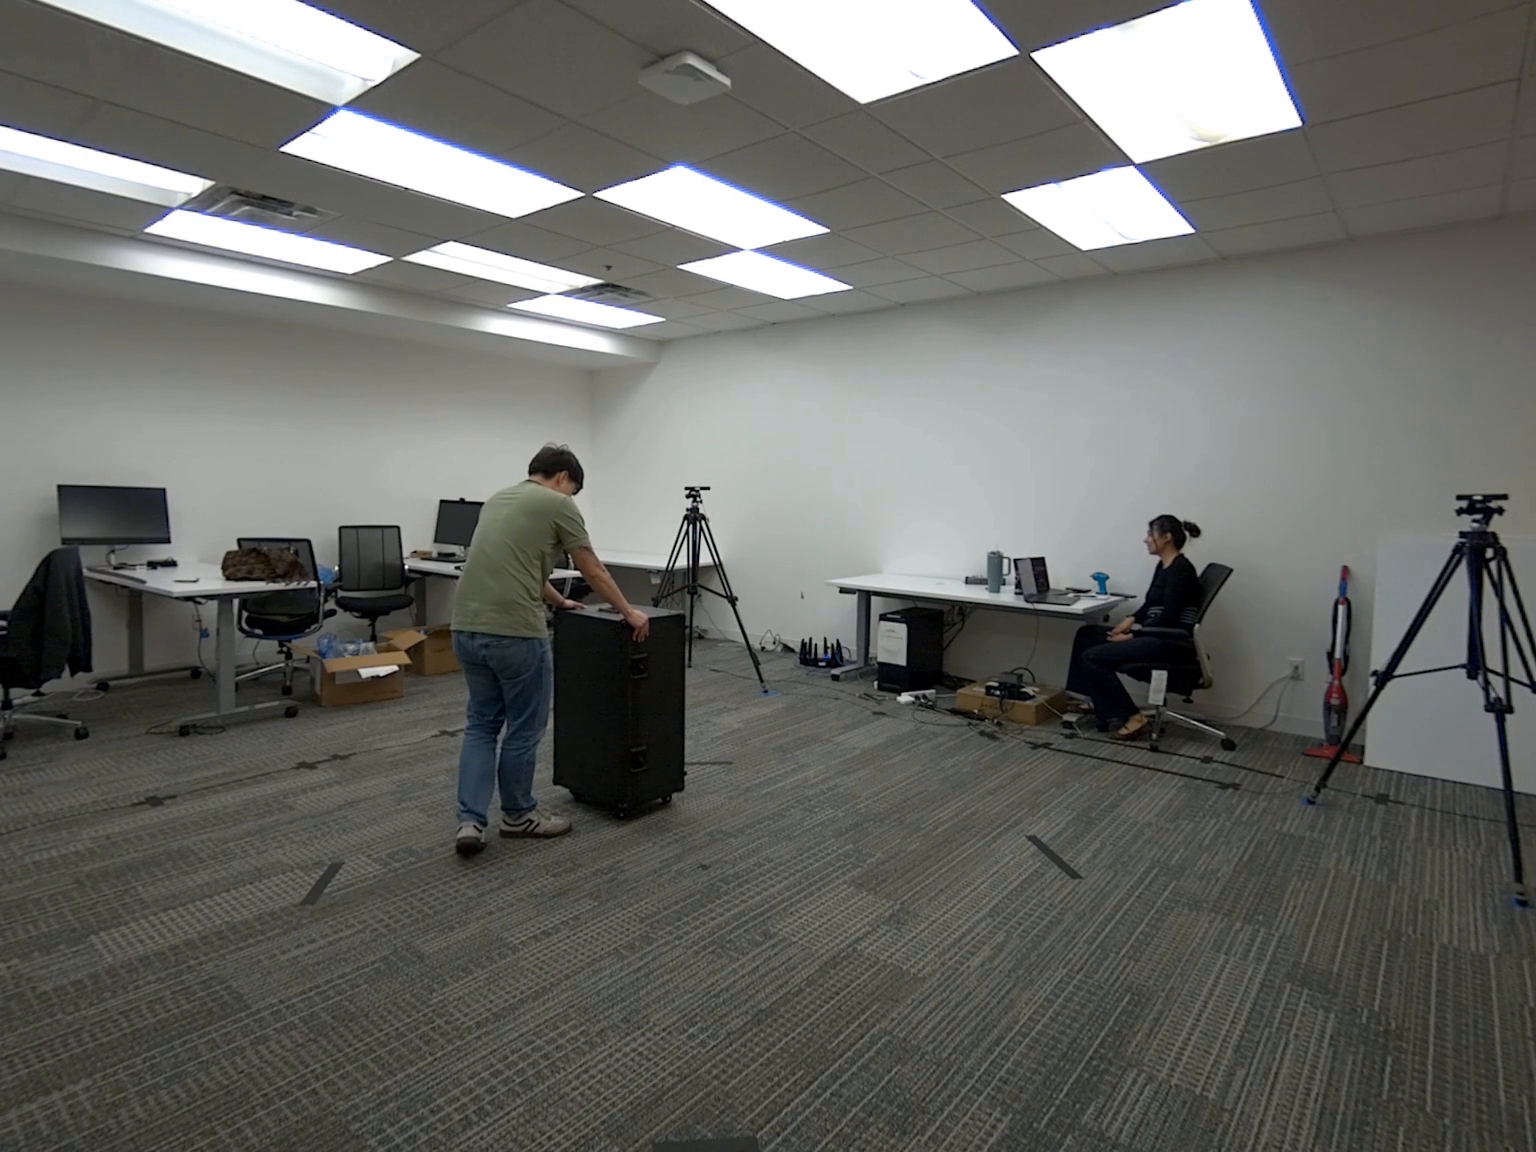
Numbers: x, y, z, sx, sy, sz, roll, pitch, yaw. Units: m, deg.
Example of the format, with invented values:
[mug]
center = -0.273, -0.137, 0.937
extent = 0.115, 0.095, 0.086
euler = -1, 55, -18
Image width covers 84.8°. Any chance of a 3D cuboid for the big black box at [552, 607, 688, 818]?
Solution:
[big black box]
center = -0.661, 0.573, 3.746
extent = 0.539, 0.860, 0.384
euler = 4, 3, 41
